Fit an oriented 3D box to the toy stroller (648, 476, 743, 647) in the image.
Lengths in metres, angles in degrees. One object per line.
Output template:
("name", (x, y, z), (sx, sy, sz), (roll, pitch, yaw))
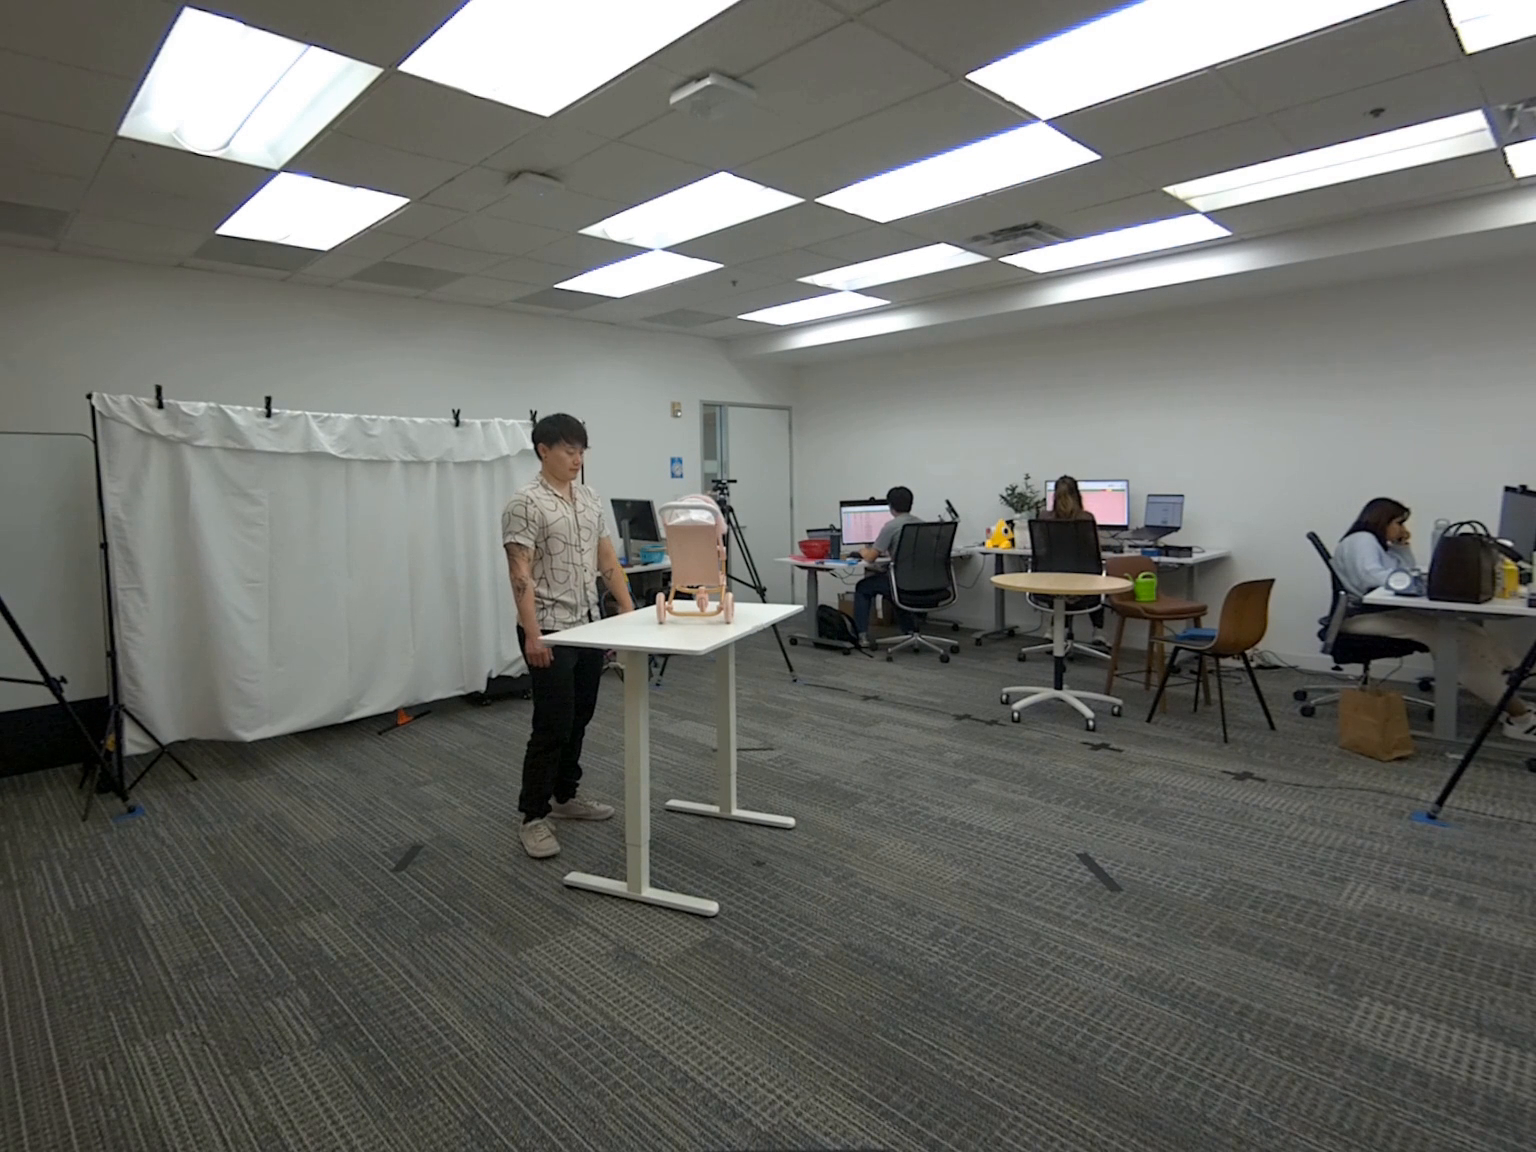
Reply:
("toy stroller", (-0.256, -0.064, 3.155), (0.283, 0.526, 0.345), (1, 20, 5))
